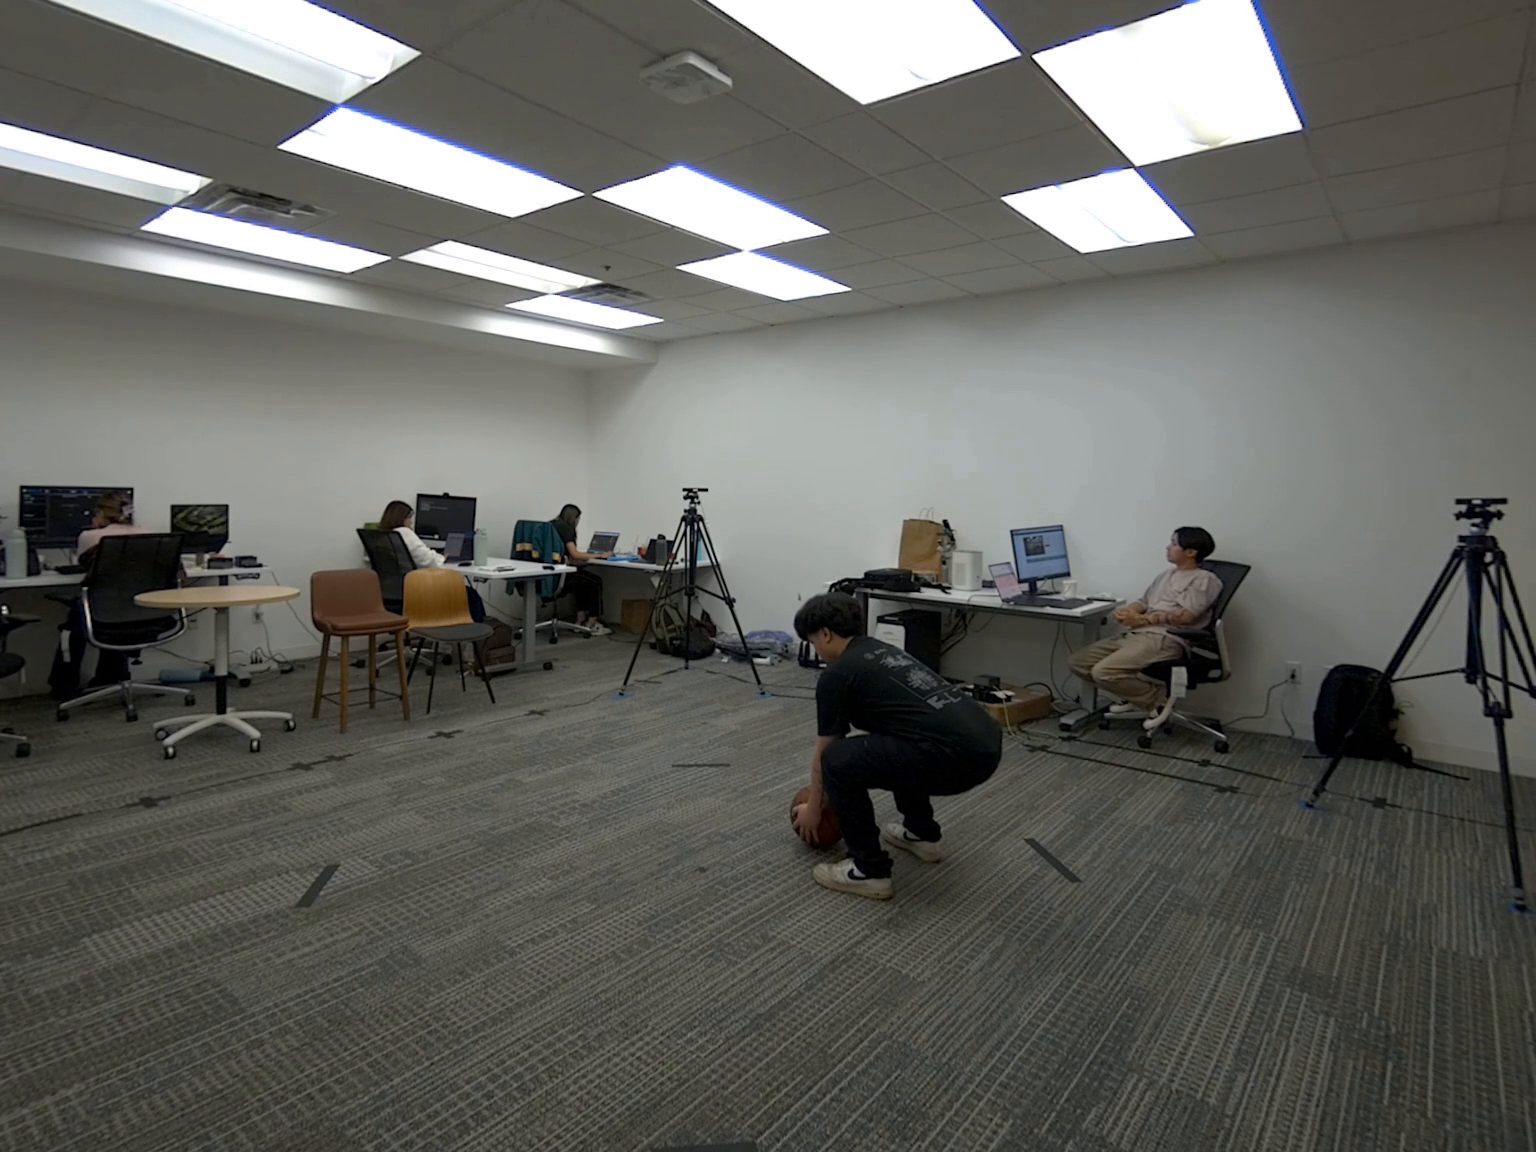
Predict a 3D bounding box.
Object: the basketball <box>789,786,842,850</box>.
[{"bbox_3d":[0.201,0.935,3.353,0.235,0.235,0.237,1,4,-2],"label":"basketball"}]
